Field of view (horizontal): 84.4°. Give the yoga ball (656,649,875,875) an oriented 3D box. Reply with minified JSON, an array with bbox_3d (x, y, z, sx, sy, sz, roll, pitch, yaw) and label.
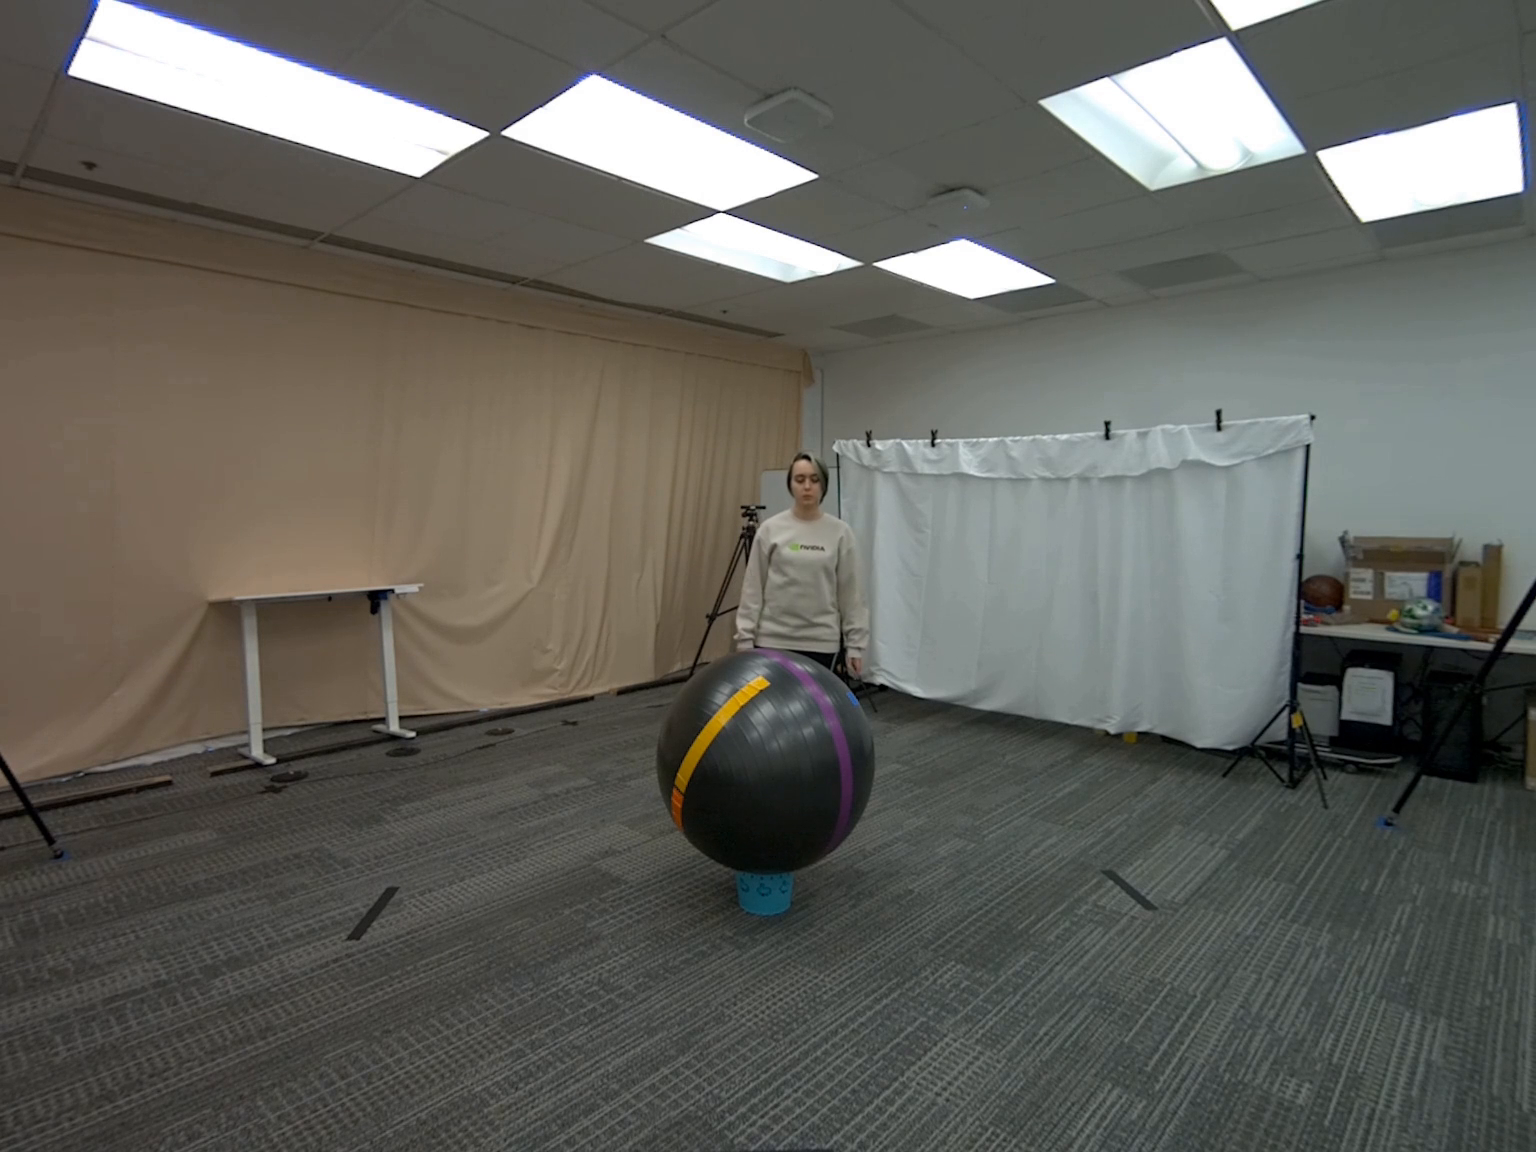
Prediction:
[{"bbox_3d":[-0.013,0.632,2.927,0.757,0.756,0.760,0,4,-2],"label":"yoga ball"}]
